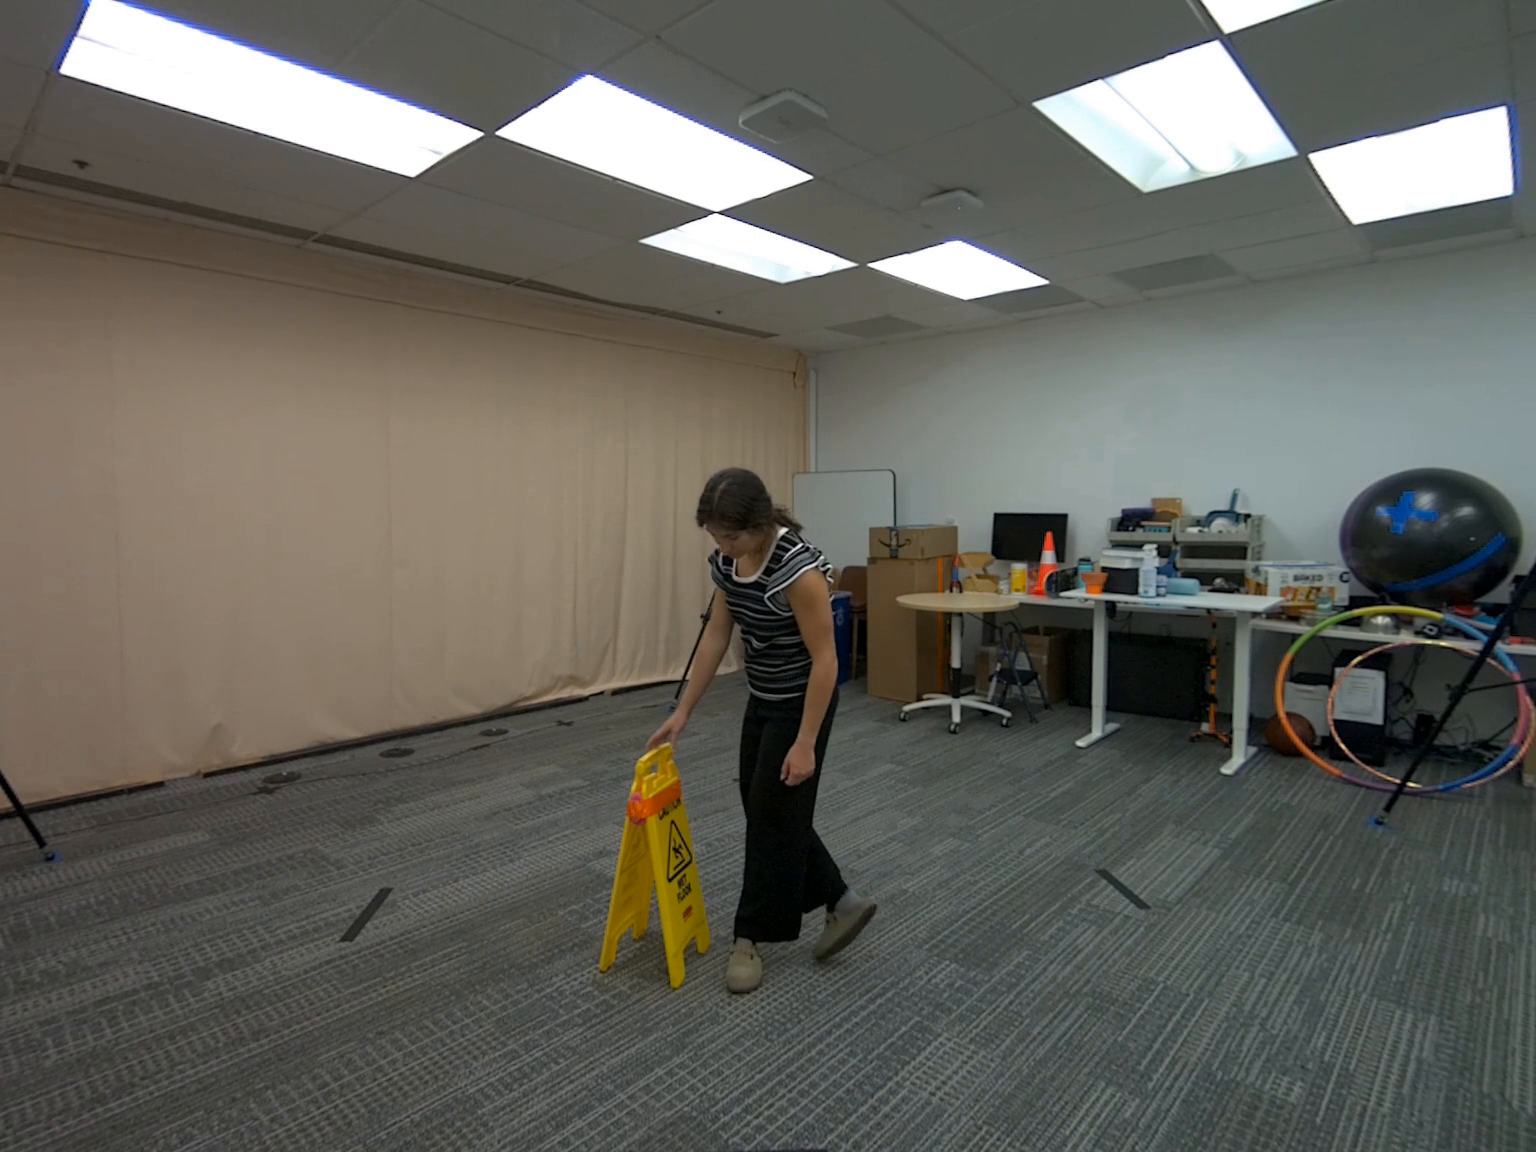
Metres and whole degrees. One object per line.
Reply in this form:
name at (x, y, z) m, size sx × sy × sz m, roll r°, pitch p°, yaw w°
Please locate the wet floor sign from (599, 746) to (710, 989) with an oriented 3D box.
wet floor sign at (-0.346, 0.861, 2.579) m, size 0.296 × 0.645 × 0.276 m, roll 0°, pitch 2°, yaw 21°
